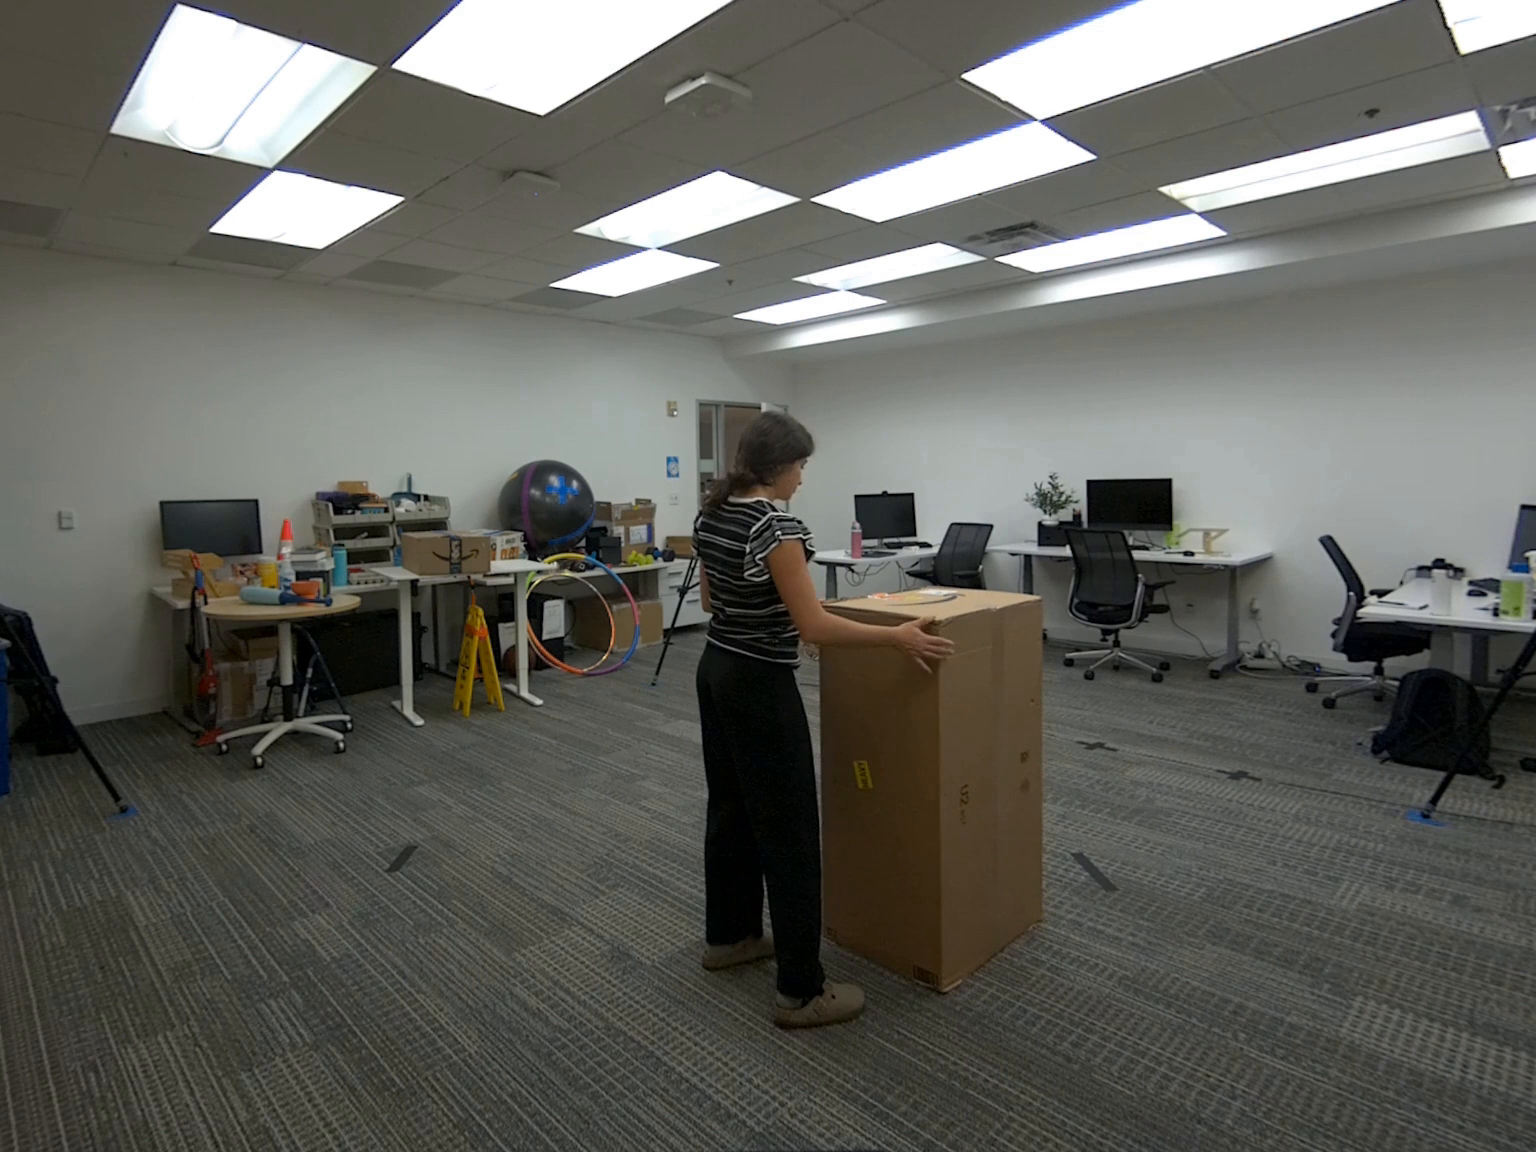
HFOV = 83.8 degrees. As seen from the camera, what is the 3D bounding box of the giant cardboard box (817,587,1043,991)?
[{"bbox_3d":[0.513,0.587,2.619,0.562,1.022,0.439,-5,5,-44],"label":"giant cardboard box"}]
